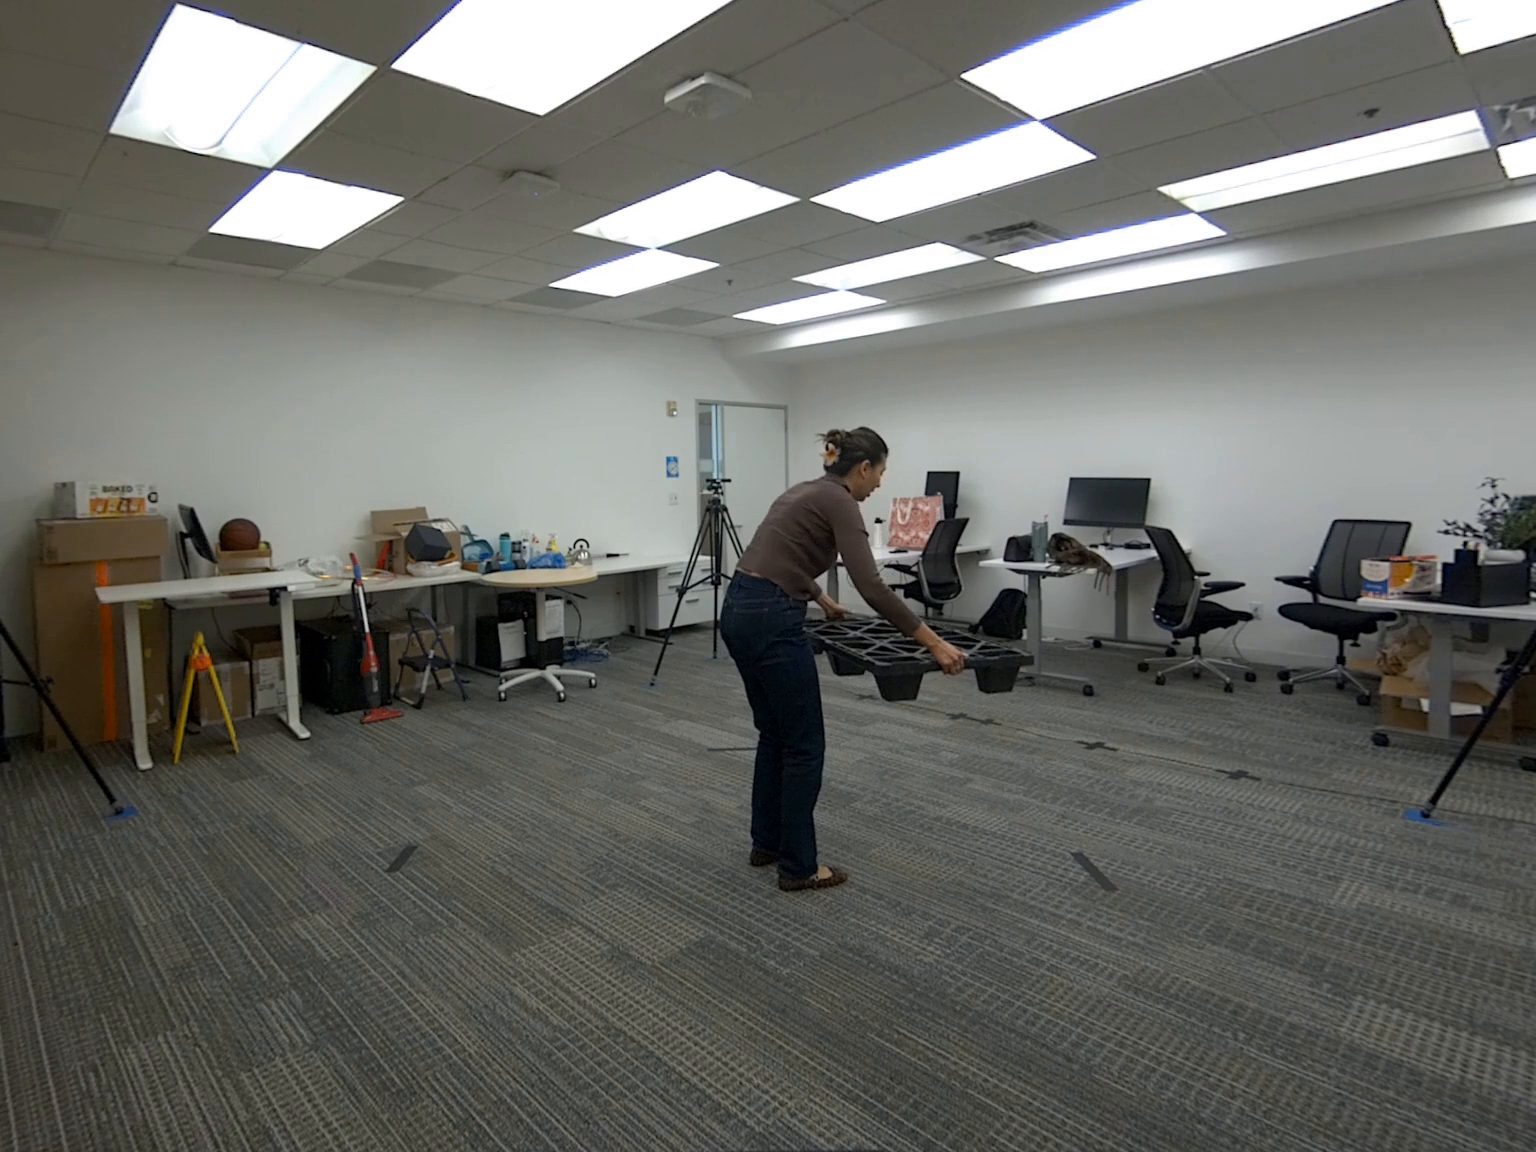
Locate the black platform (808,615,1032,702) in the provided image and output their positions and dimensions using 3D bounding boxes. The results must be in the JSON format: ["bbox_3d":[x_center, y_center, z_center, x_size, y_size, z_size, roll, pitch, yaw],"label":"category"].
[{"bbox_3d":[0.469,0.288,3.106,0.594,0.142,0.824,-3,7,-21],"label":"black platform"}]
